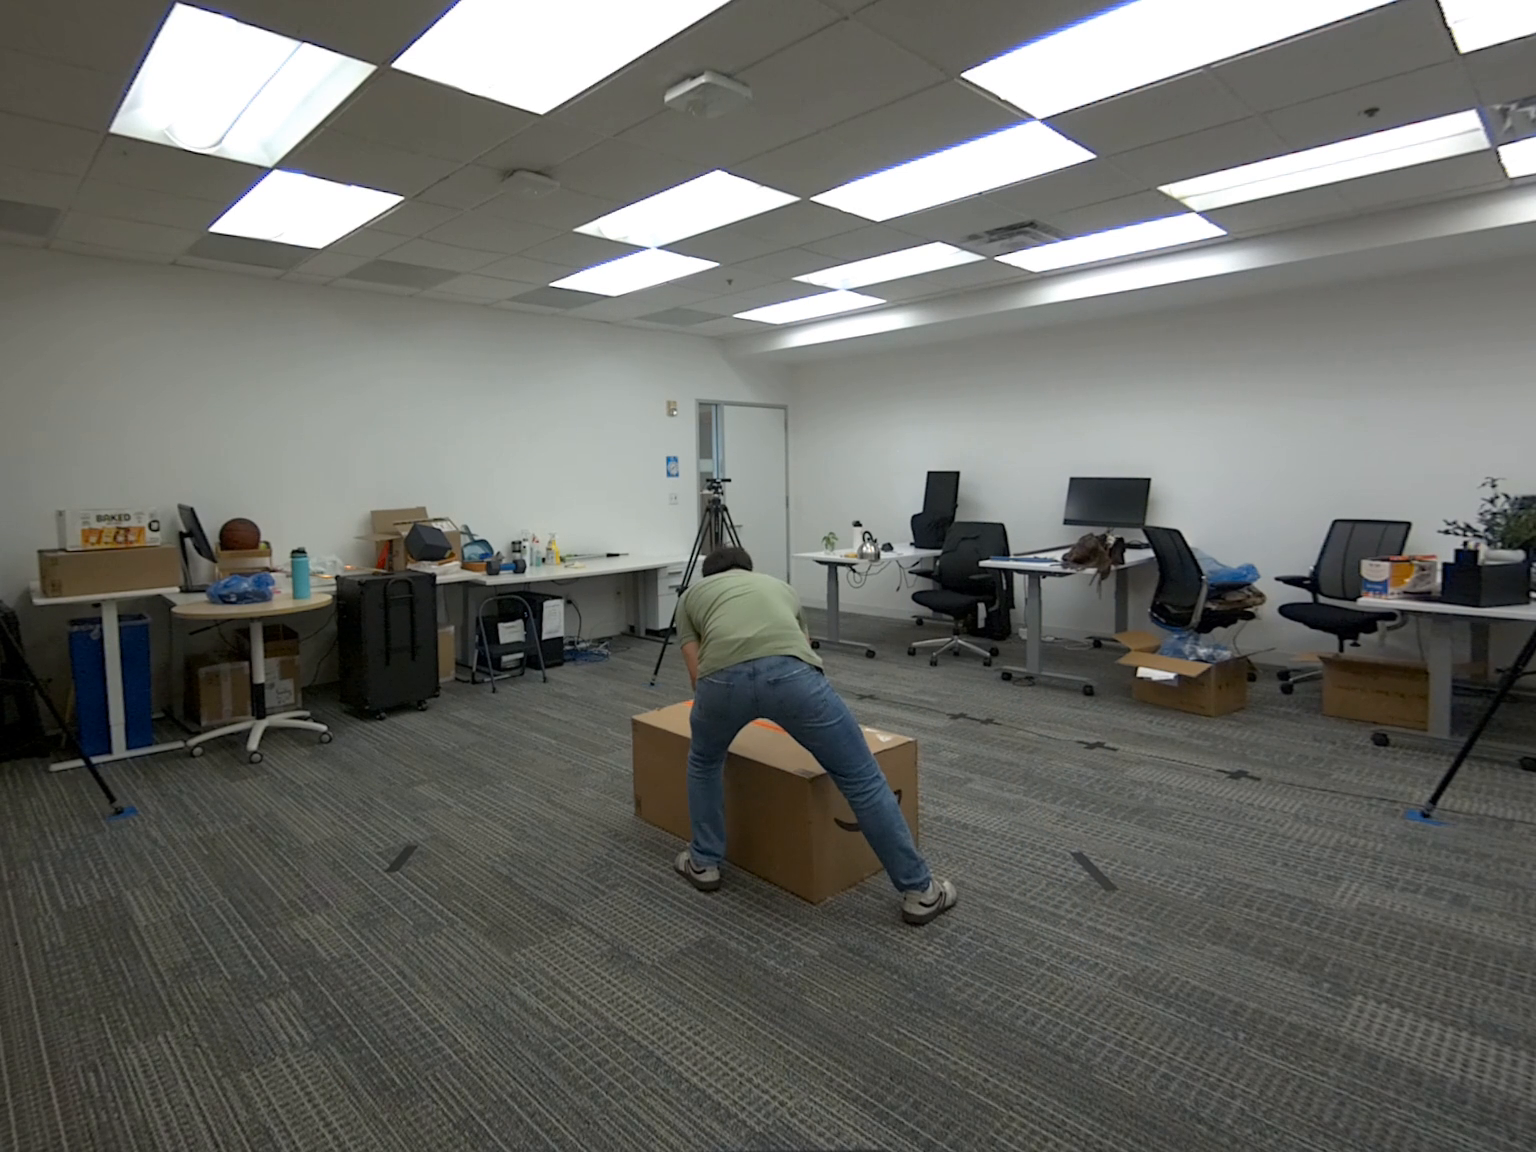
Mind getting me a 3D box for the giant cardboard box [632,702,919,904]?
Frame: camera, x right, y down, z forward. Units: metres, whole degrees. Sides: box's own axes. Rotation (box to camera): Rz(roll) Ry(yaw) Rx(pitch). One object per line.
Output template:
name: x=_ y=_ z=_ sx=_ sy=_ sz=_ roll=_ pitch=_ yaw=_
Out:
giant cardboard box: x=-0.010 y=0.793 z=3.361 sx=0.562 sy=0.424 sz=1.058 roll=-7 pitch=8 yaw=-43
